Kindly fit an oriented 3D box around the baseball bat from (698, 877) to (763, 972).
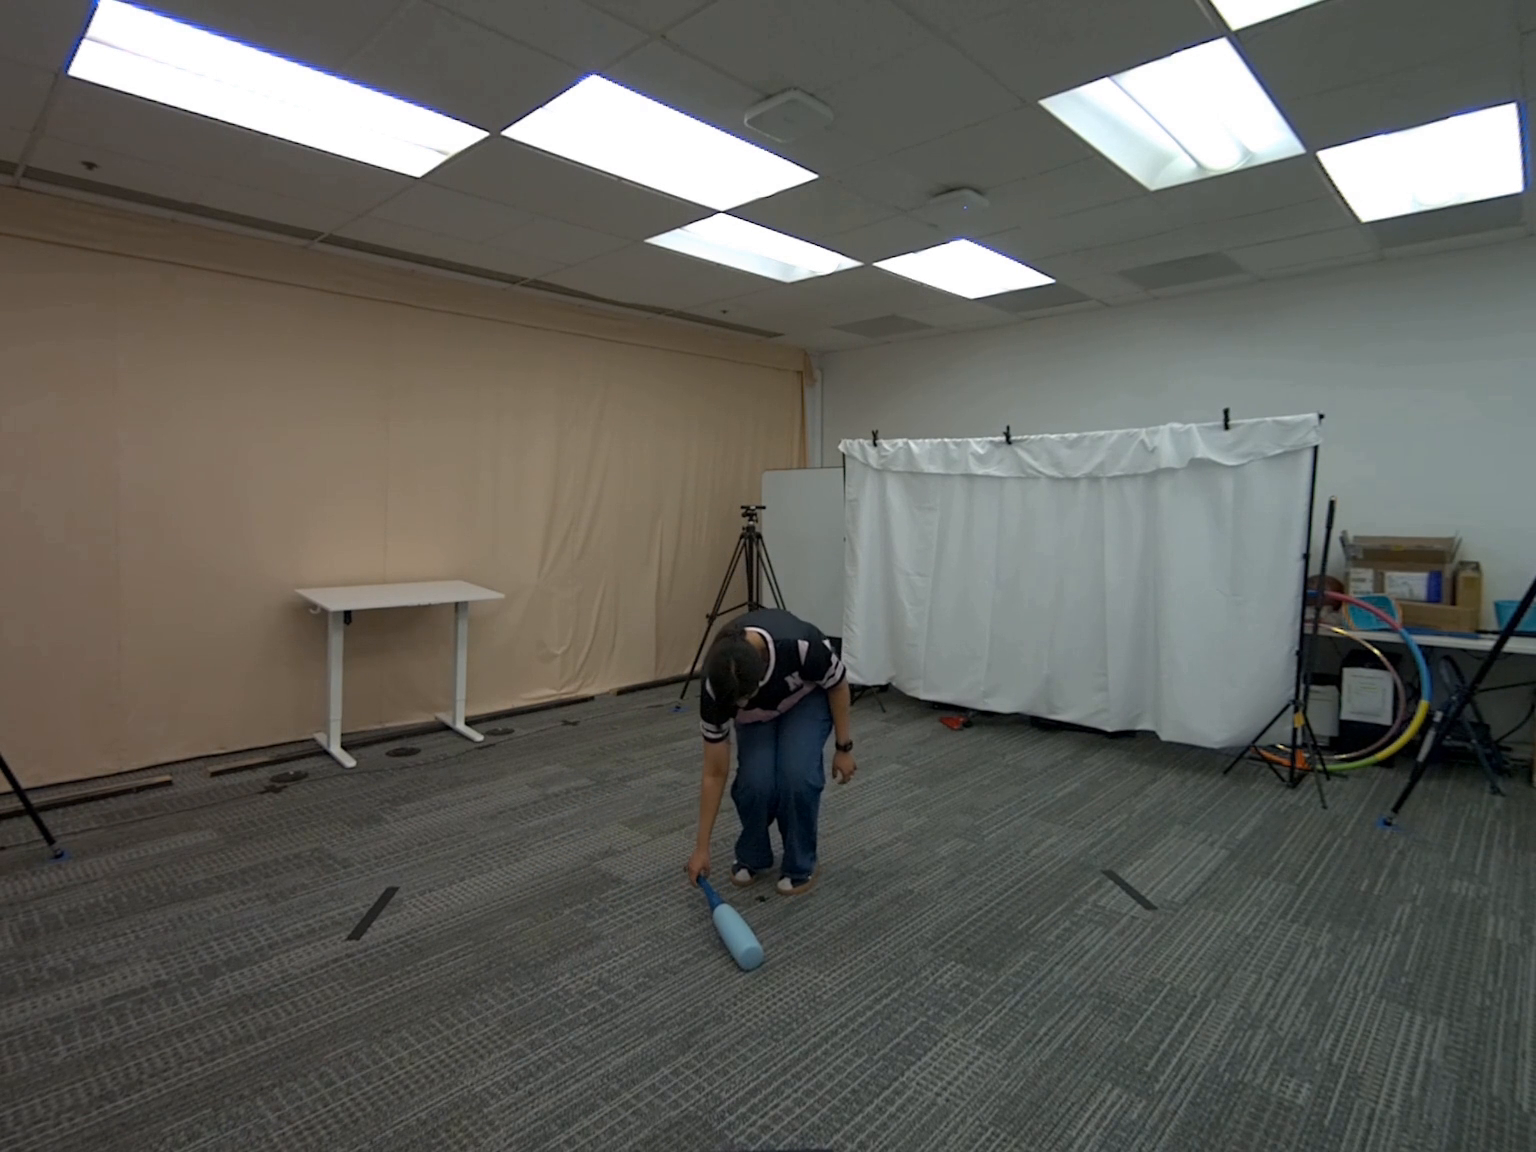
[{"bbox_3d":[-0.147,1.098,2.758,0.087,0.088,0.557,-2,9,-22],"label":"baseball bat"}]
